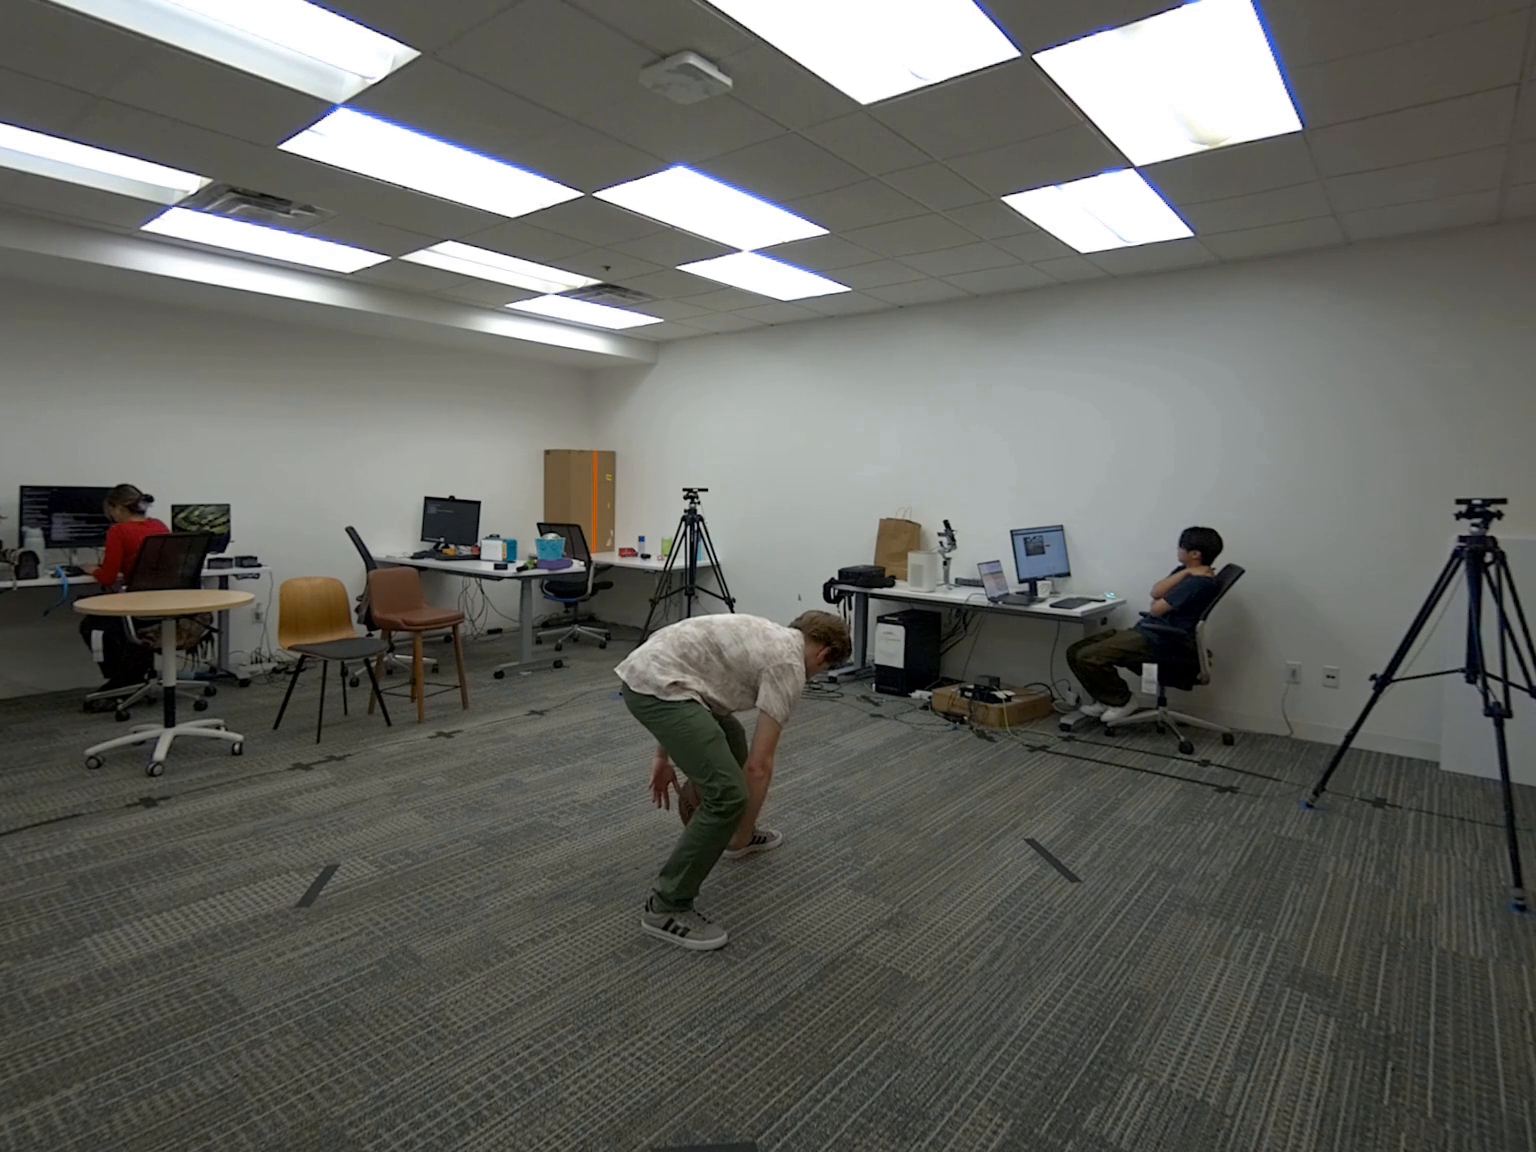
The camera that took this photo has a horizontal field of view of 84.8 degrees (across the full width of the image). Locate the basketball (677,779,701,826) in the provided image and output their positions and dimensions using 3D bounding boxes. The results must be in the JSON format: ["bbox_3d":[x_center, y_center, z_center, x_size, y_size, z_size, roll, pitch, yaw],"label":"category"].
[{"bbox_3d":[-0.184,0.765,2.887,0.235,0.235,0.237,1,4,-2],"label":"basketball"}]
